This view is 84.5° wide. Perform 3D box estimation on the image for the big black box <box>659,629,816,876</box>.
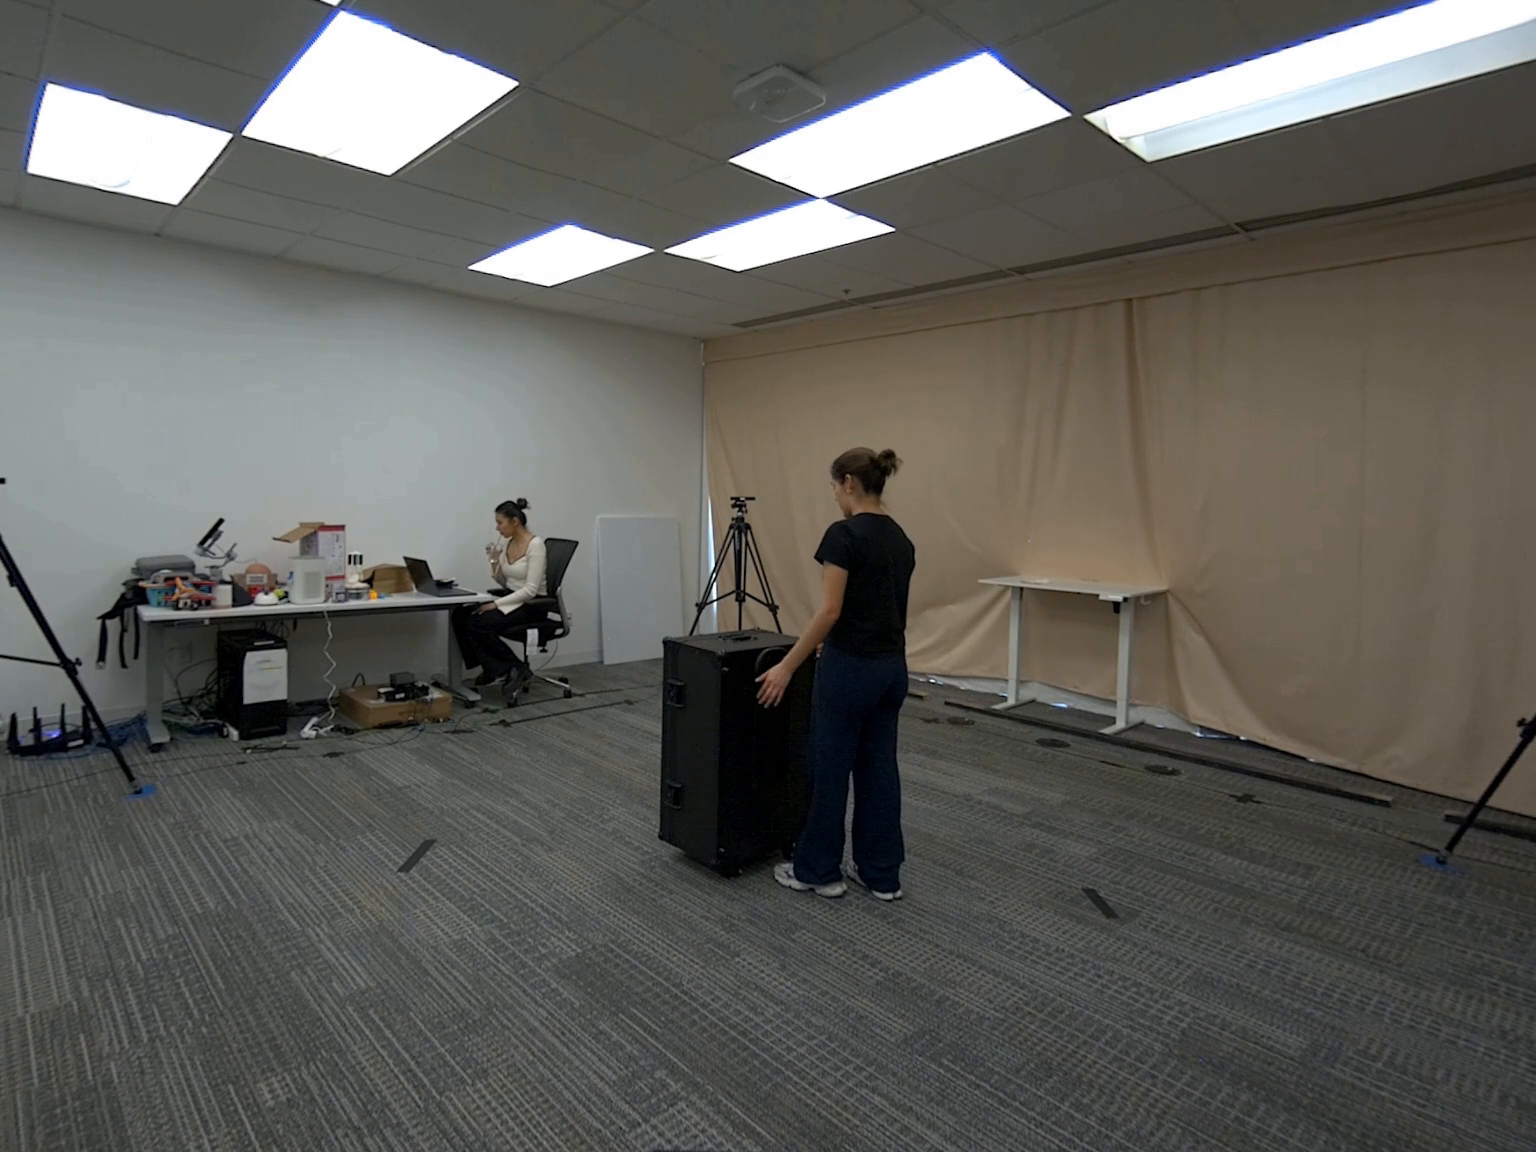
[{"bbox_3d":[-0.111,0.674,3.243,0.509,0.859,0.406,-1,5,-42],"label":"big black box"}]
